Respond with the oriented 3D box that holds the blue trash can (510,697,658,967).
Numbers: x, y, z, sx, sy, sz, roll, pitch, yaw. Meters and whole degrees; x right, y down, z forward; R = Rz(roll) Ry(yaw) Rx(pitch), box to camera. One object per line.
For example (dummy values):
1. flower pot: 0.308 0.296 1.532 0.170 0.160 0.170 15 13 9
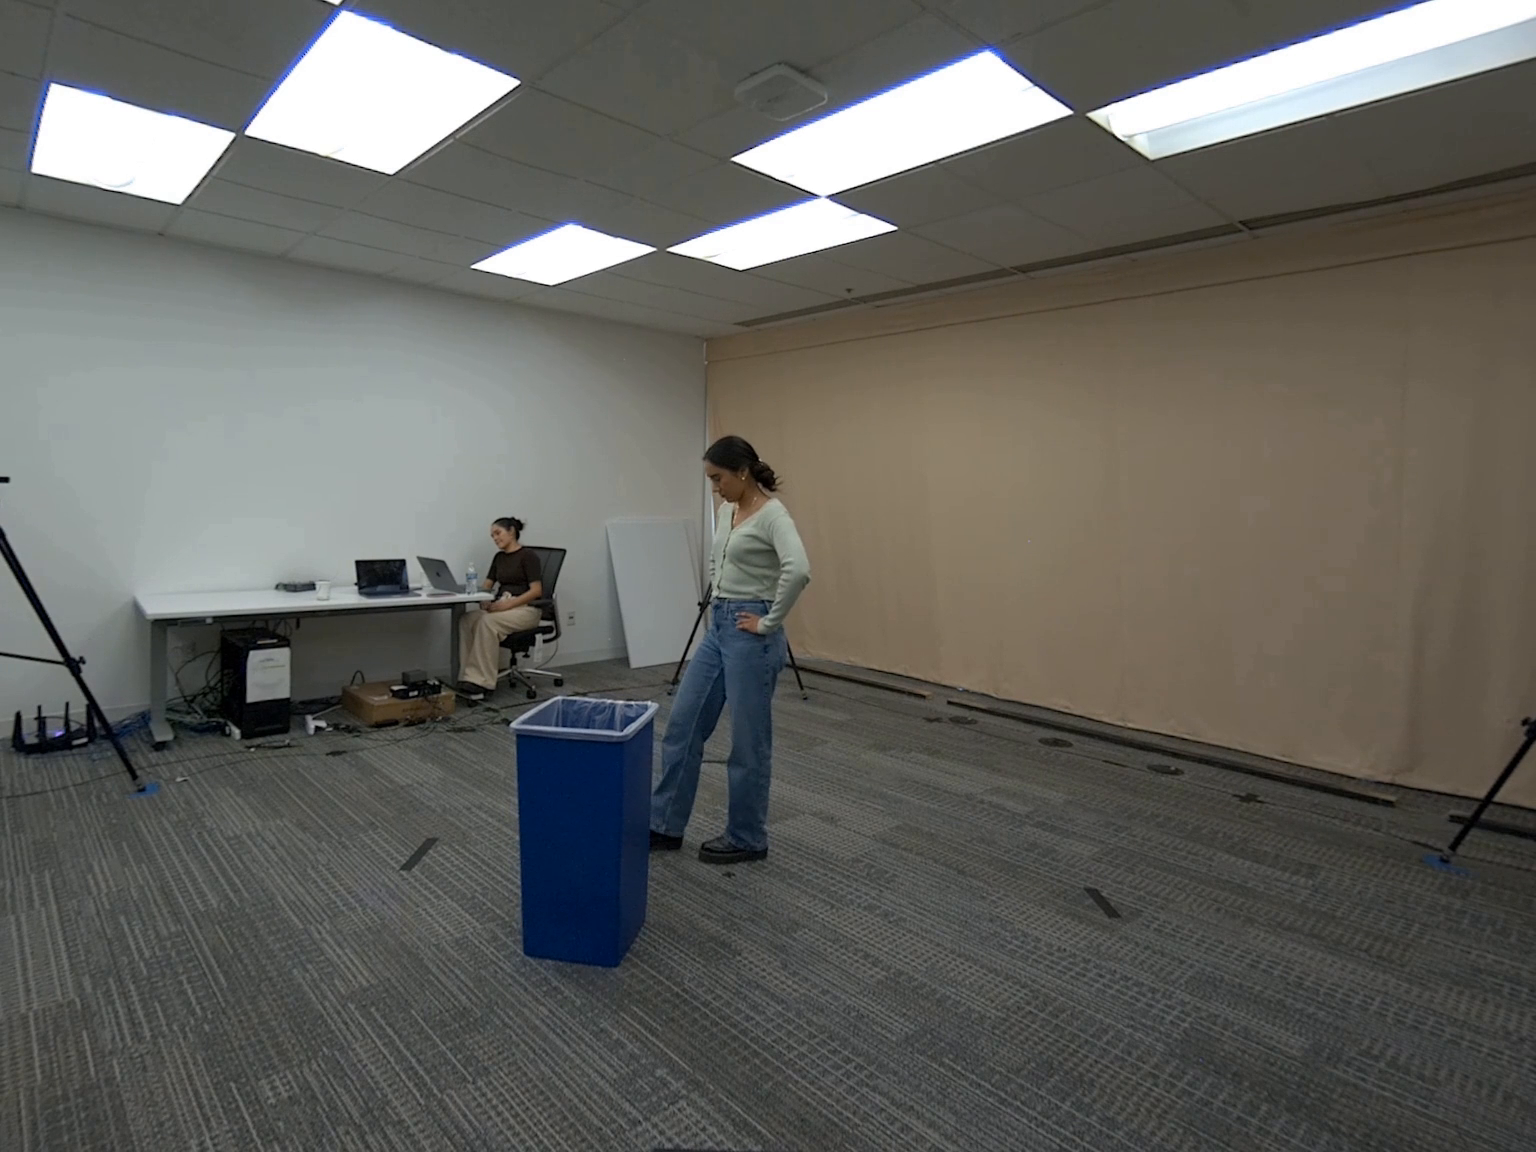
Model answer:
1. blue trash can: -0.579 0.783 2.616 0.377 0.711 0.376 2 4 9
